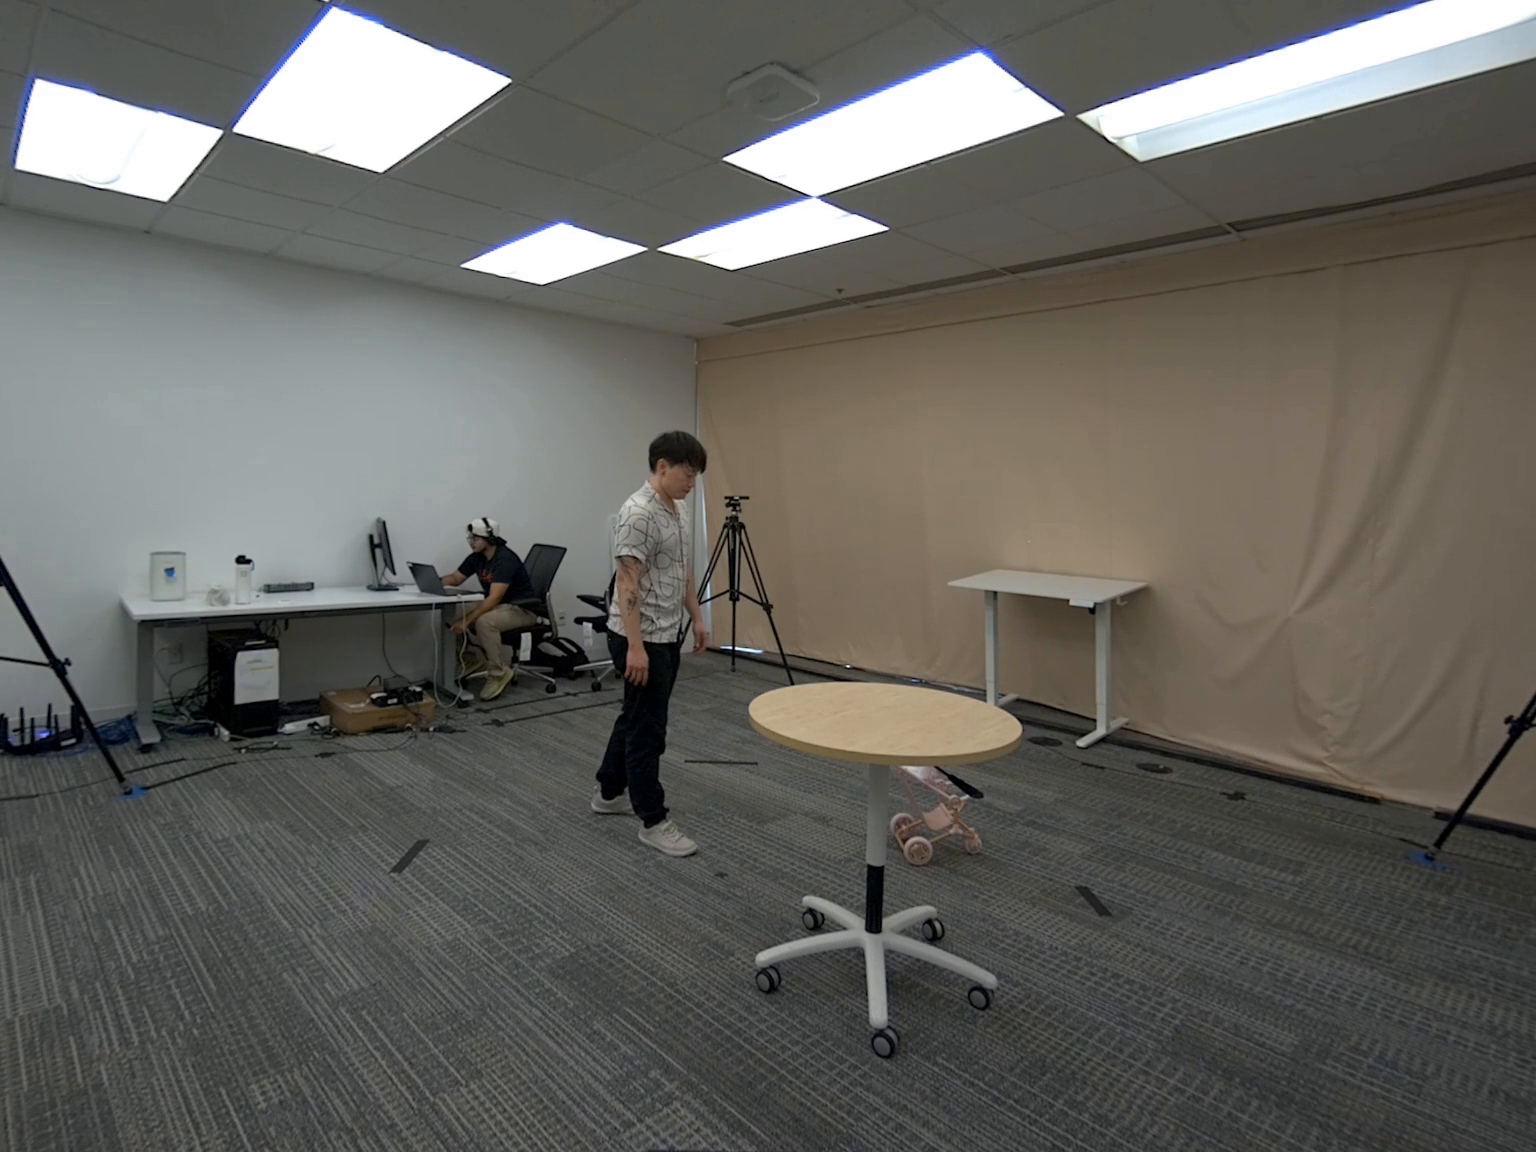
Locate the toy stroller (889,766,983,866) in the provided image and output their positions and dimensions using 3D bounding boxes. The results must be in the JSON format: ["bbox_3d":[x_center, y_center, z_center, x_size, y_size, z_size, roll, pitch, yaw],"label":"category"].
[{"bbox_3d":[0.635,0.883,3.346,0.342,0.534,0.281,-13,2,3],"label":"toy stroller"}]
